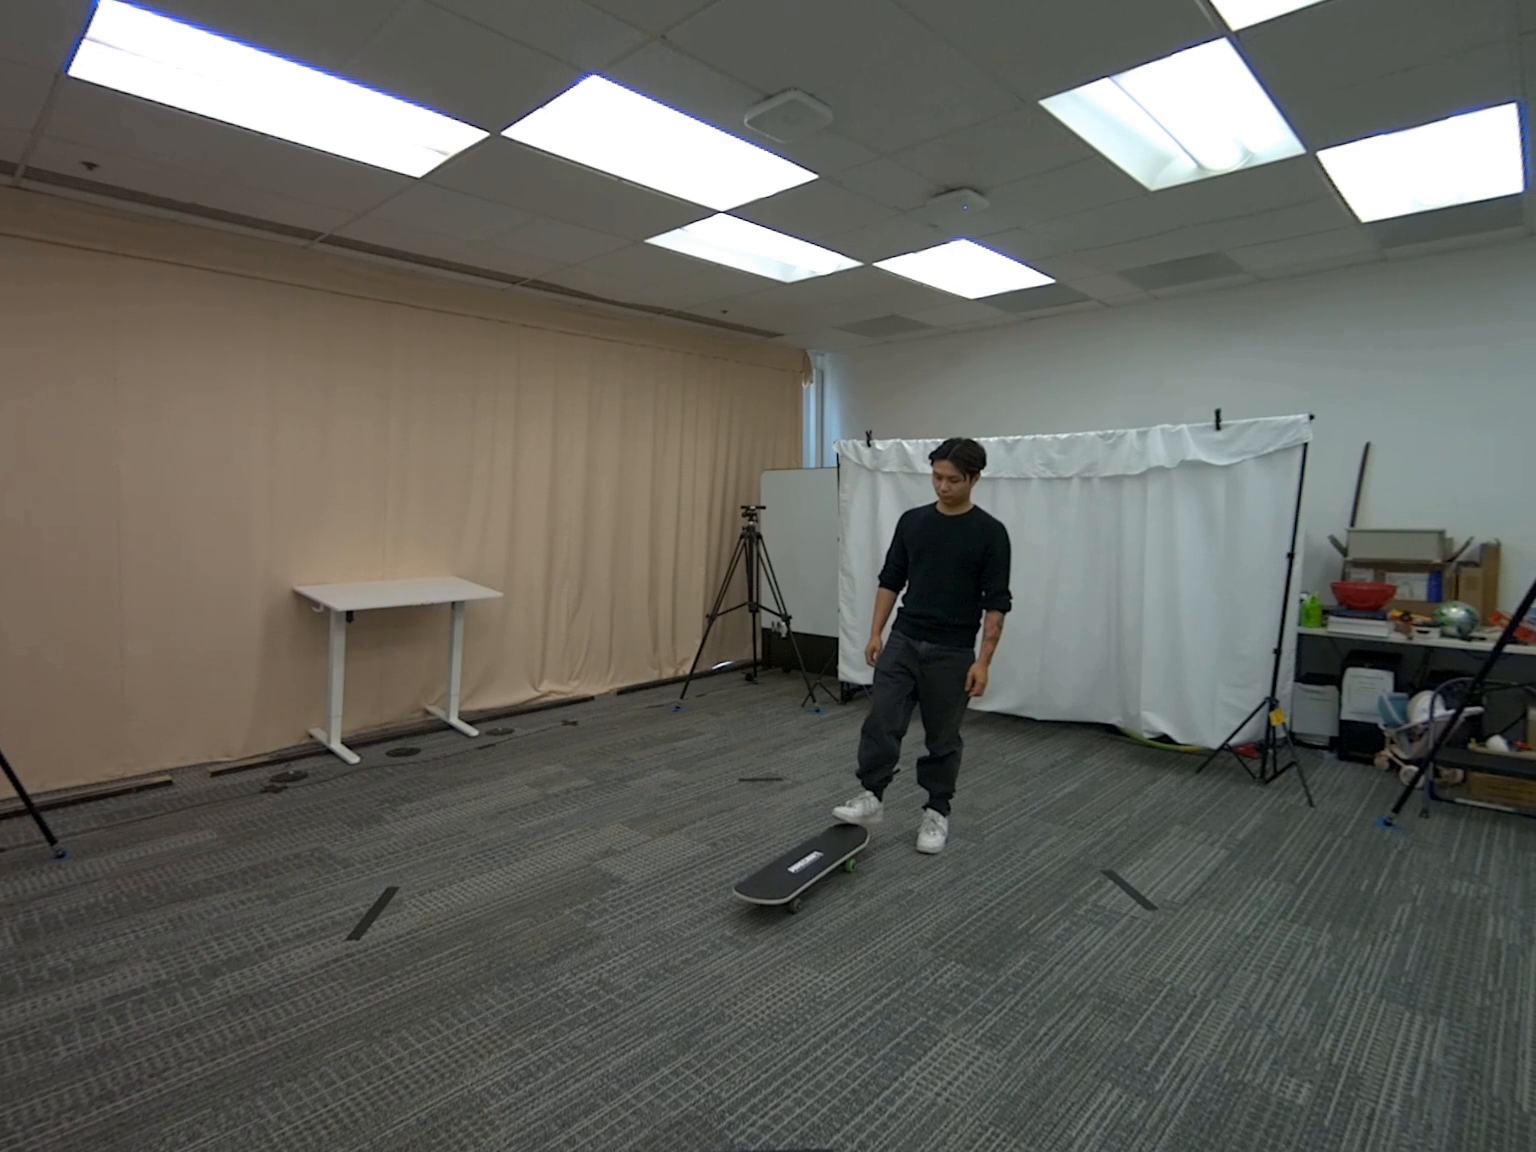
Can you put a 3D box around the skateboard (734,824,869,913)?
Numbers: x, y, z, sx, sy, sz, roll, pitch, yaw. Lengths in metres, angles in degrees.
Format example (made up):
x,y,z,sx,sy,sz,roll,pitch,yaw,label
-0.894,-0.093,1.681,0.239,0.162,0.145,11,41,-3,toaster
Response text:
x,y,z,sx,sy,sz,roll,pitch,yaw,label
0.140,1.081,3.081,0.199,0.110,0.763,3,6,35,skateboard
